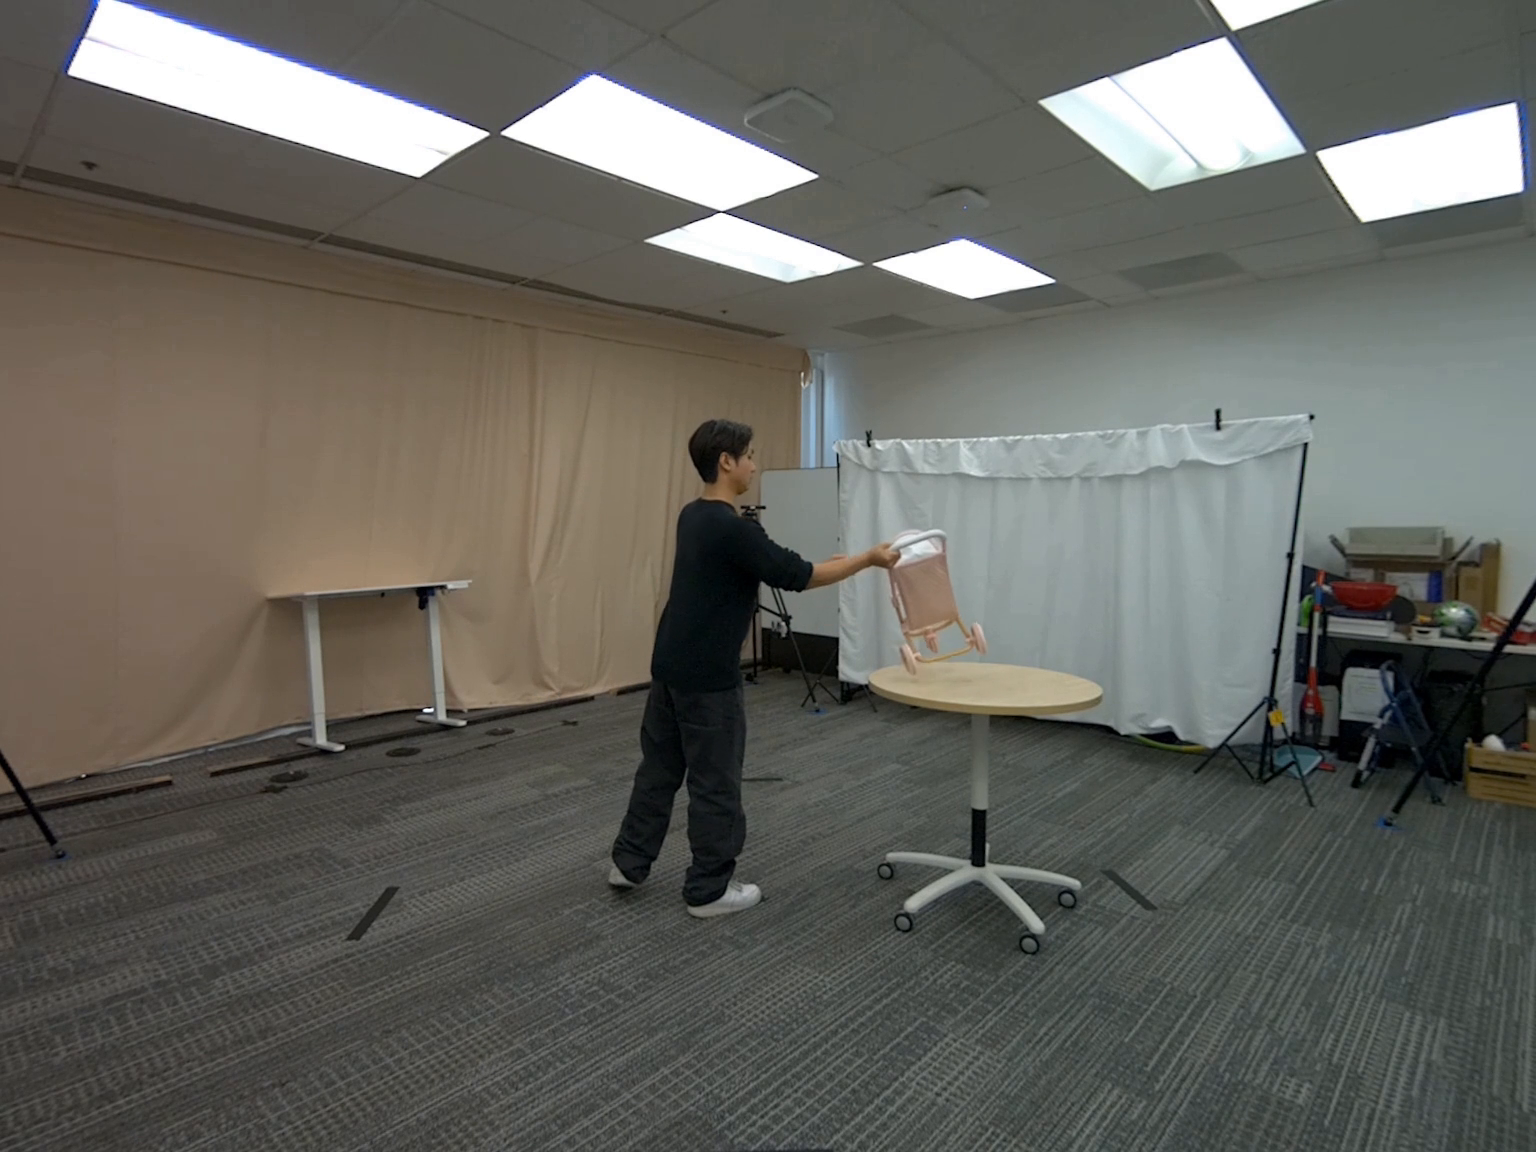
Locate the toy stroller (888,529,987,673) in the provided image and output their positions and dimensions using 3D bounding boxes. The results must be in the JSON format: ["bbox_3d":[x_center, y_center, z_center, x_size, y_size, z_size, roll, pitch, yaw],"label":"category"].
[{"bbox_3d":[0.552,0.073,2.953,0.283,0.529,0.343,-17,13,6],"label":"toy stroller"}]
